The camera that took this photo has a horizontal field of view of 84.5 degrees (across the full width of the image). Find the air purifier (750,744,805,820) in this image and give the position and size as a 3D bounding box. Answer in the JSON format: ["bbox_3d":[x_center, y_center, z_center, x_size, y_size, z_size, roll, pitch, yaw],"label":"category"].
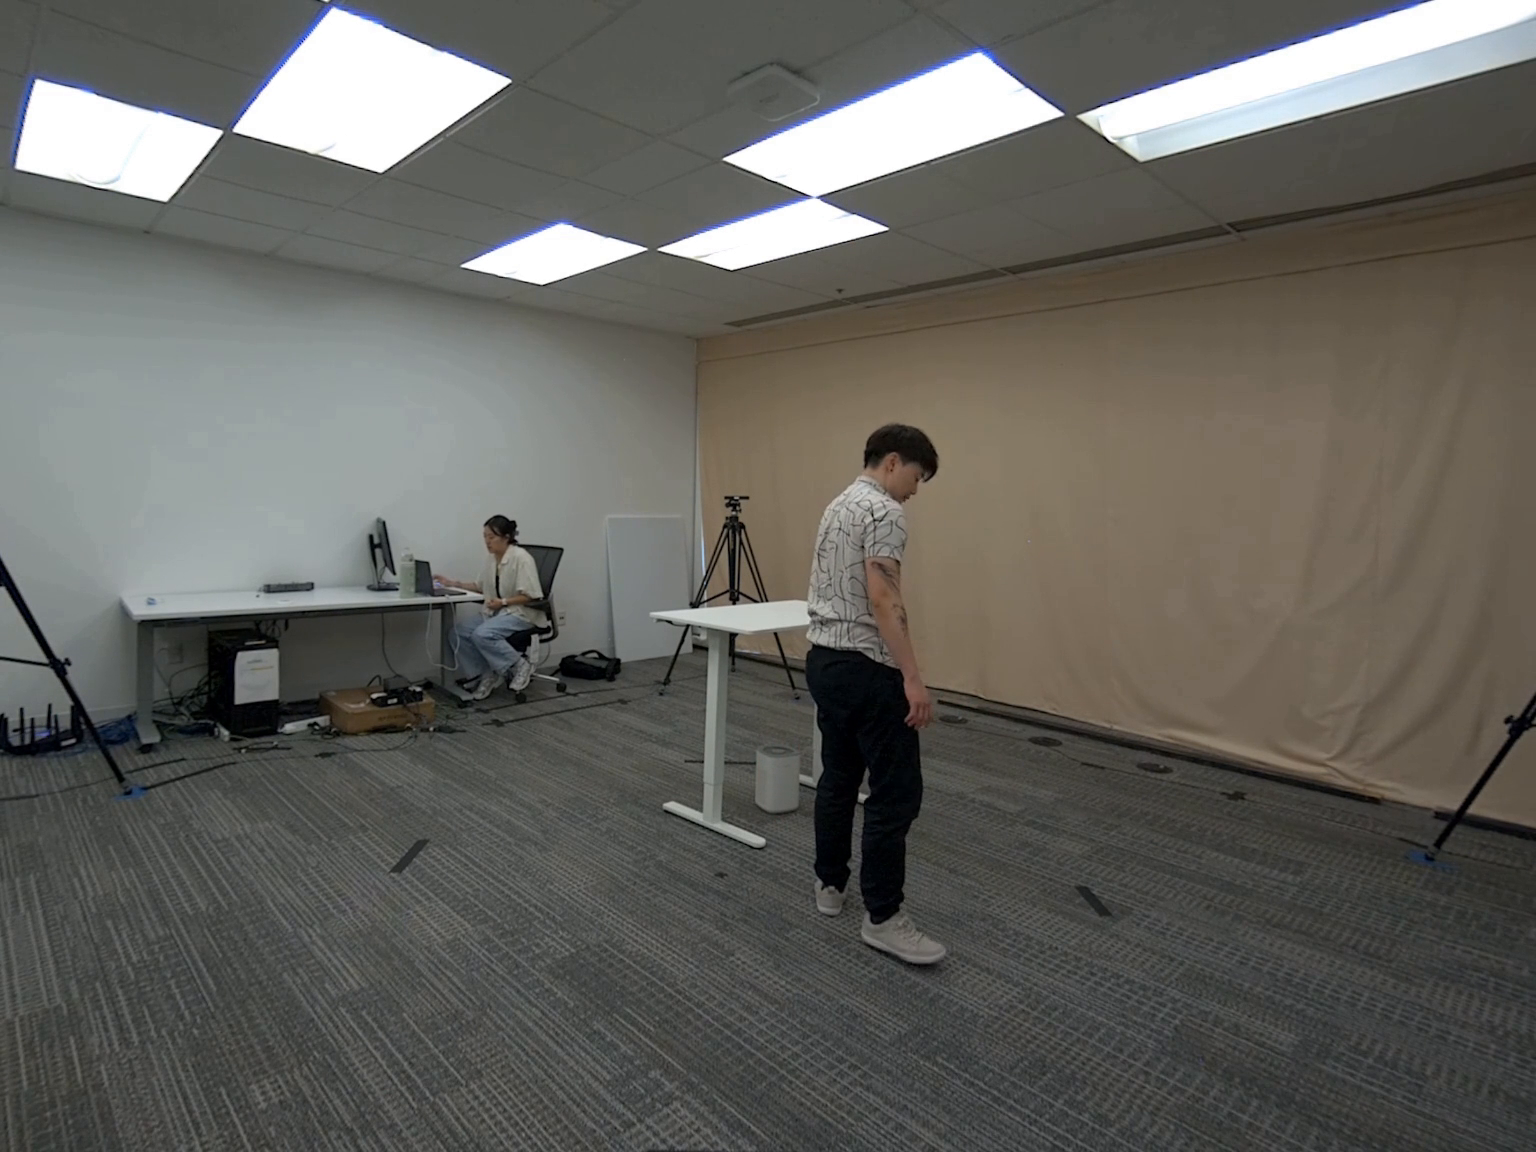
[{"bbox_3d":[0.039,0.919,3.797,0.167,0.265,0.175,0,4,-30],"label":"air purifier"}]
